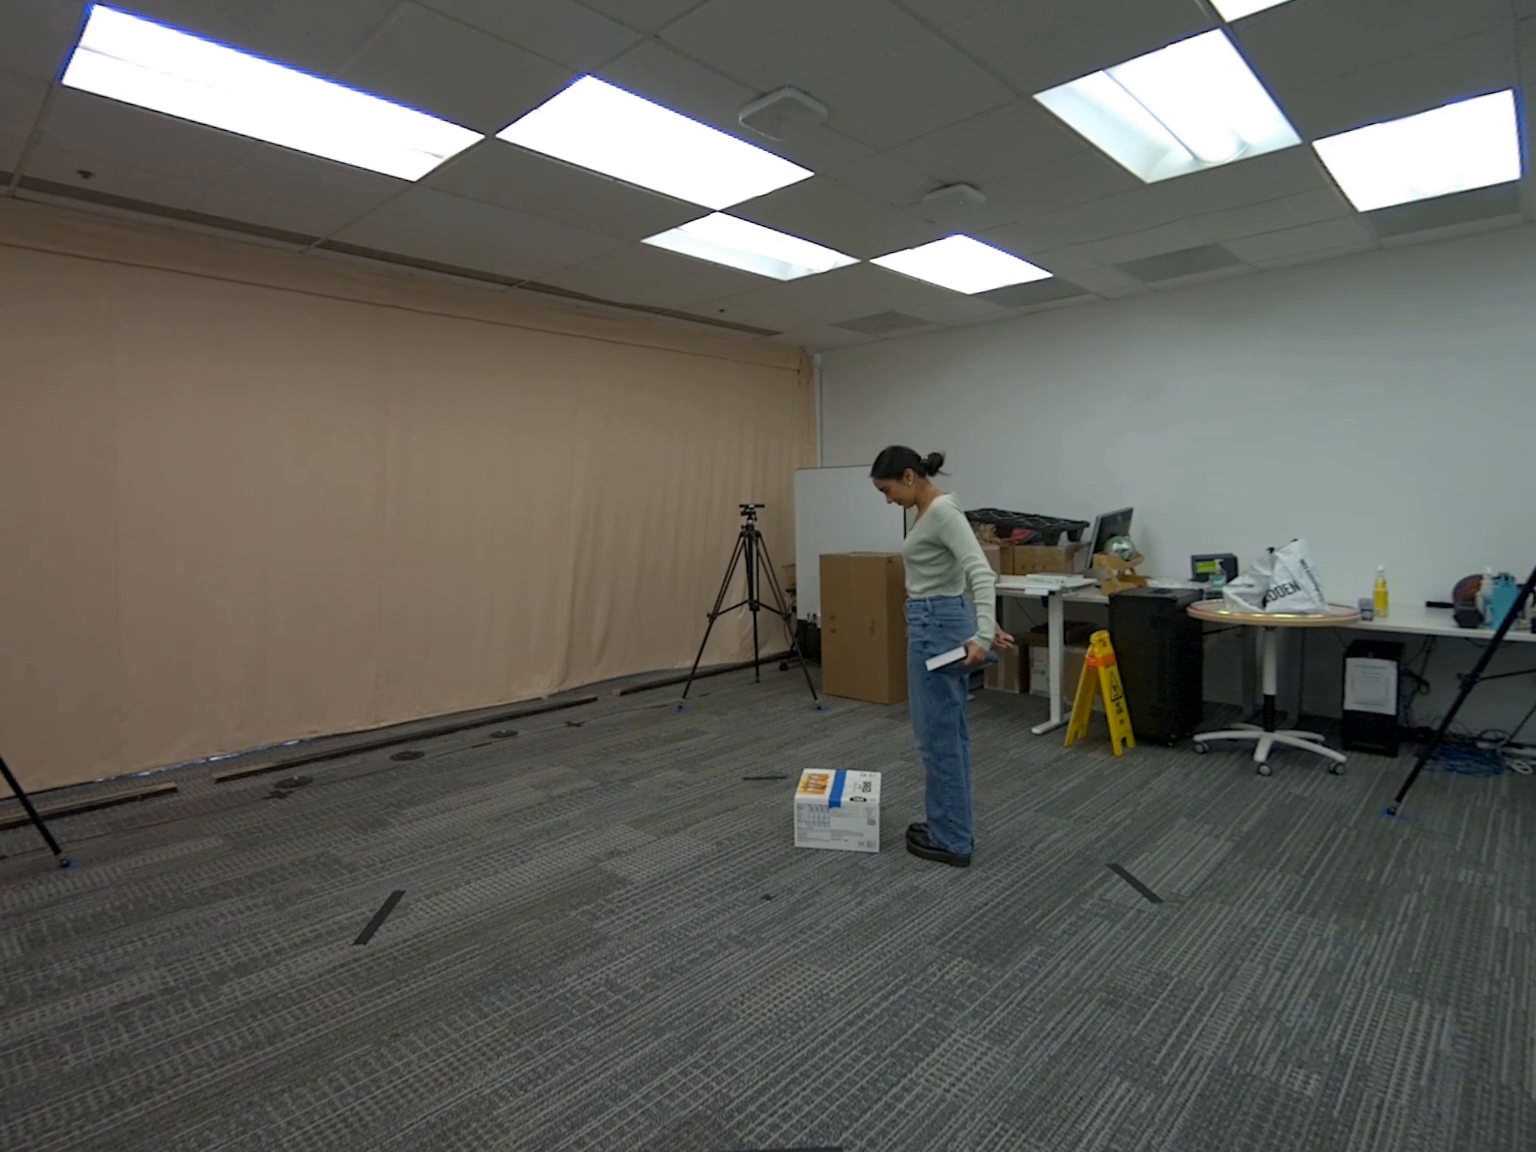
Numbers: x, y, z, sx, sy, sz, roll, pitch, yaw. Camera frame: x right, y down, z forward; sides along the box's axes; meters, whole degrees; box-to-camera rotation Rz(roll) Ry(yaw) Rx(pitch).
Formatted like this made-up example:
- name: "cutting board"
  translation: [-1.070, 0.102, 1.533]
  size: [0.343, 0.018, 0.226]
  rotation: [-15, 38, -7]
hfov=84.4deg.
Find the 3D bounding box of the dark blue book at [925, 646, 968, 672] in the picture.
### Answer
- name: "dark blue book"
  translation: [0.684, 0.301, 3.011]
  size: [0.166, 0.046, 0.236]
  rotation: [-30, -26, 36]
